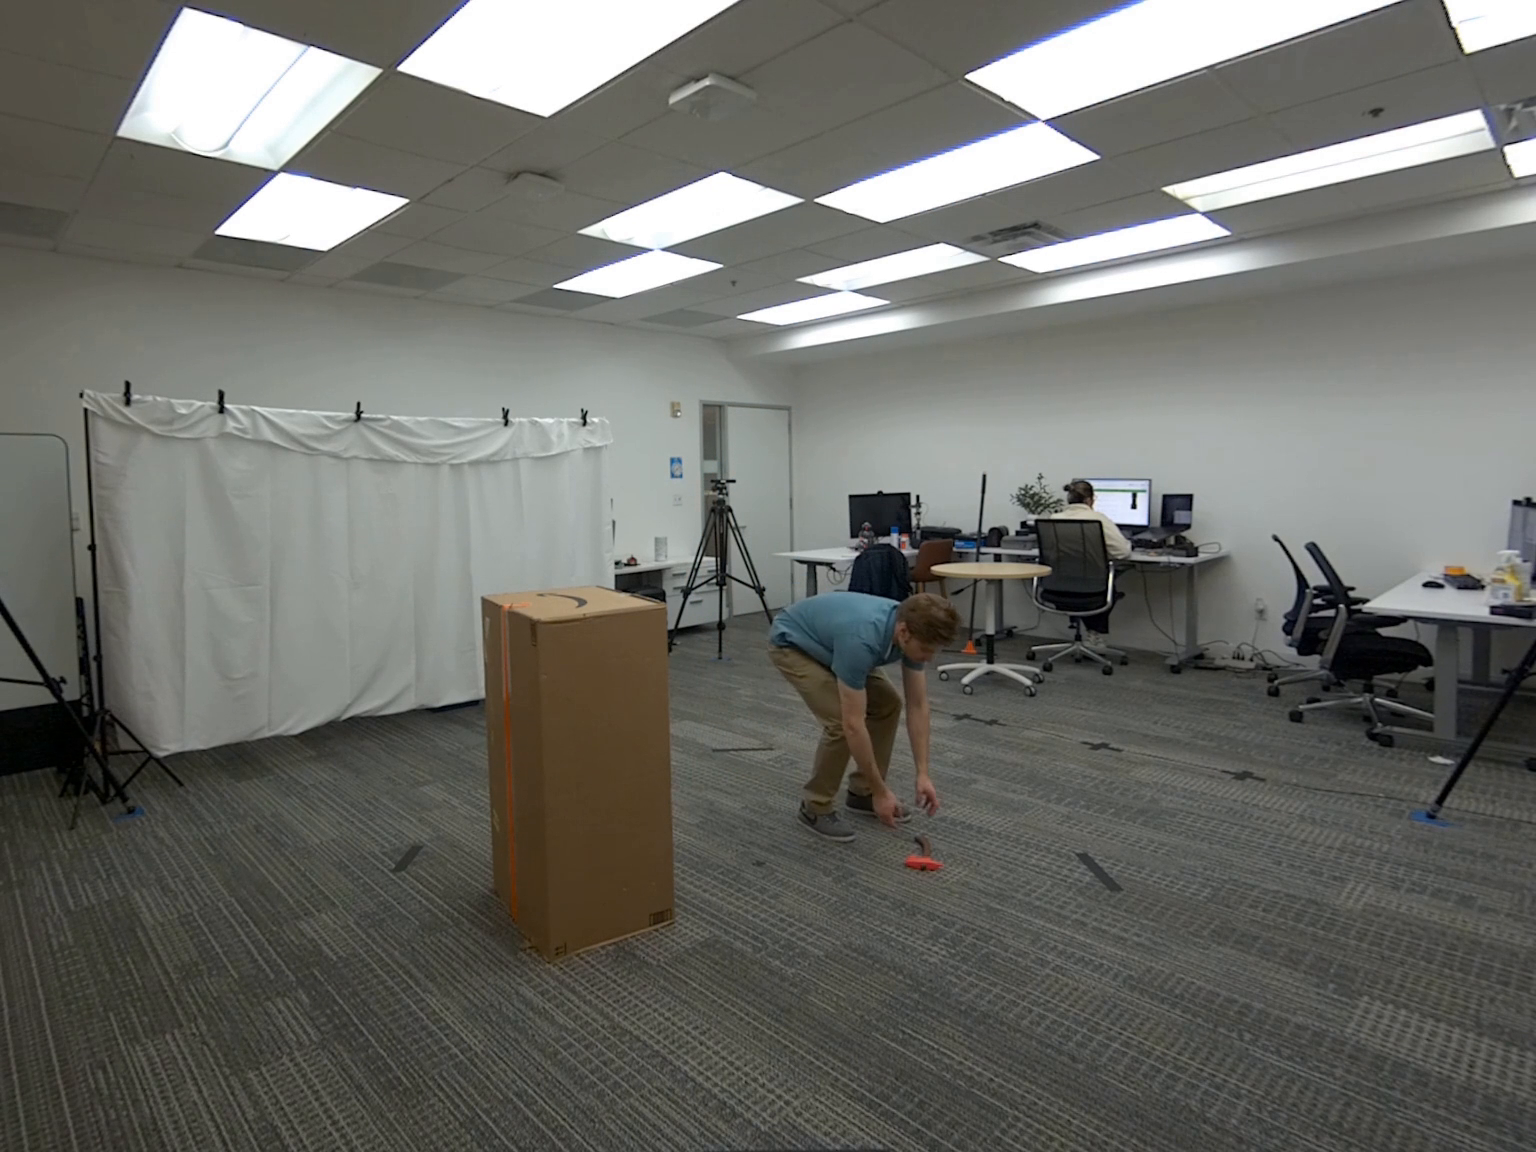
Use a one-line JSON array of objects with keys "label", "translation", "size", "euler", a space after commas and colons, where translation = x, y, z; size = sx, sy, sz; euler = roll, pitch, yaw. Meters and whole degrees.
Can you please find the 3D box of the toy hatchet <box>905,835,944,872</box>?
[{"label": "toy hatchet", "translation": [0.544, 1.022, 3.156], "size": [0.130, 0.029, 0.272], "euler": [-5, 4, -7]}]
